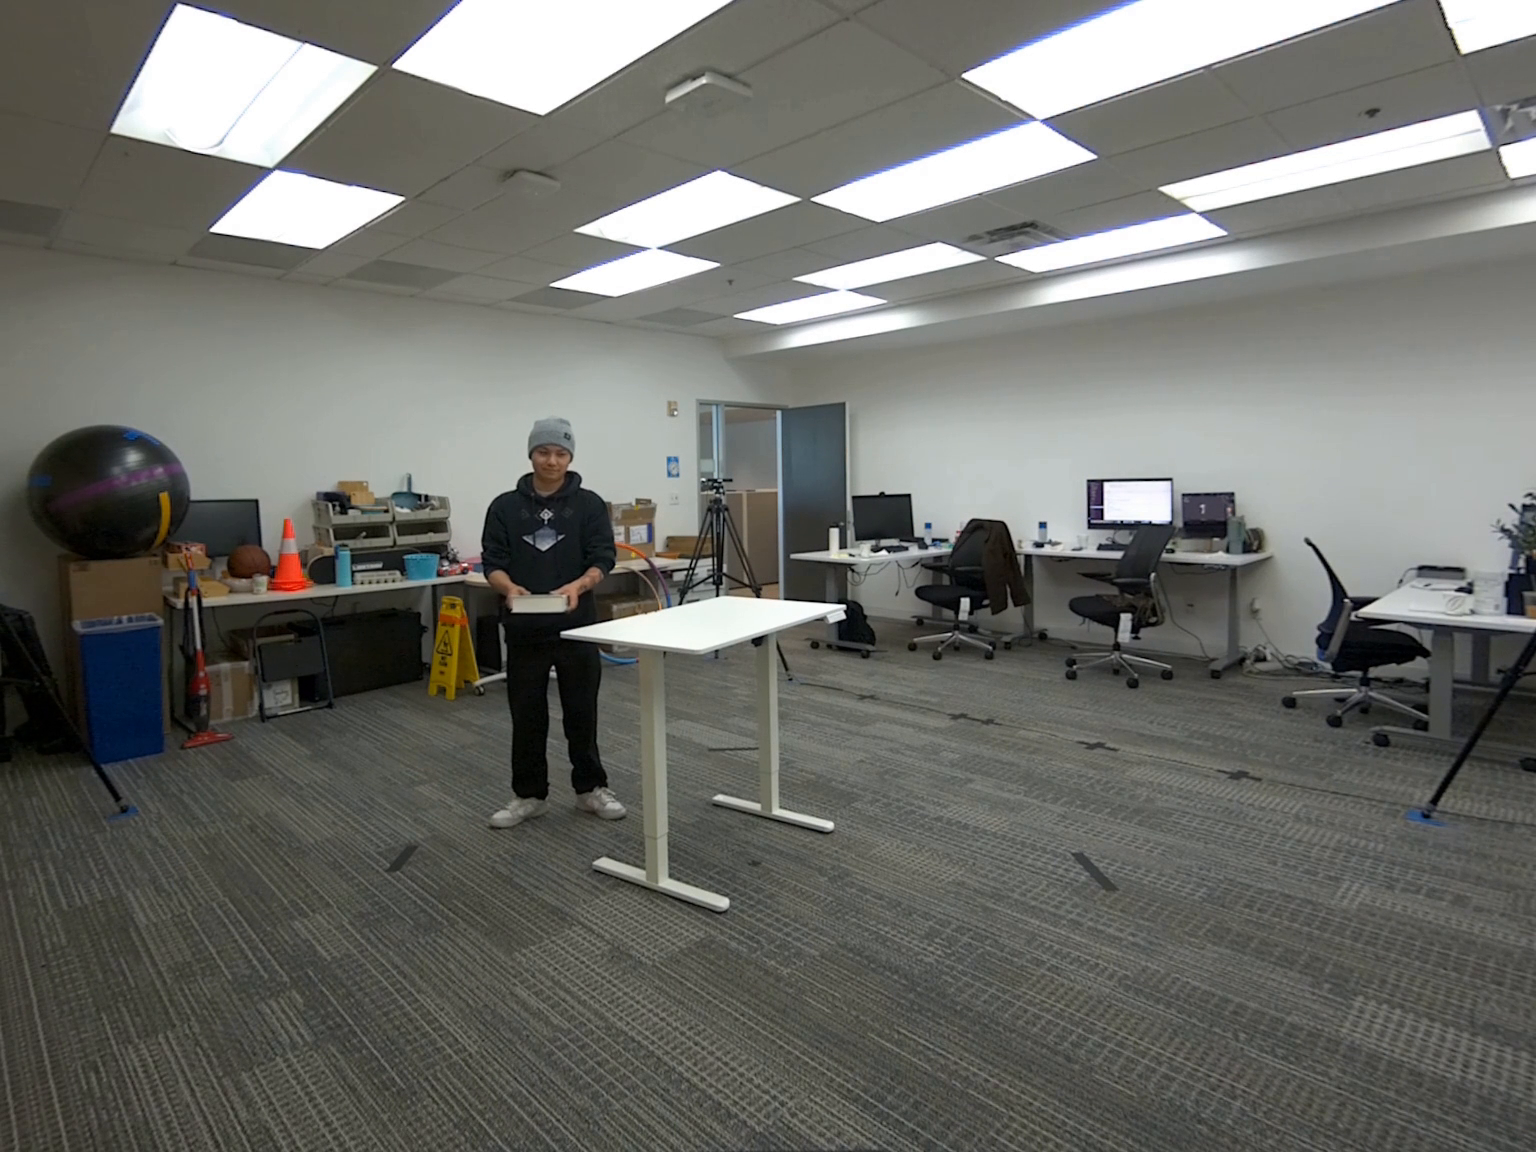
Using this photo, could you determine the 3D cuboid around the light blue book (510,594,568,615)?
[{"bbox_3d":[-0.859,0.104,3.165,0.190,0.059,0.263,0,0,-9],"label":"light blue book"}]
